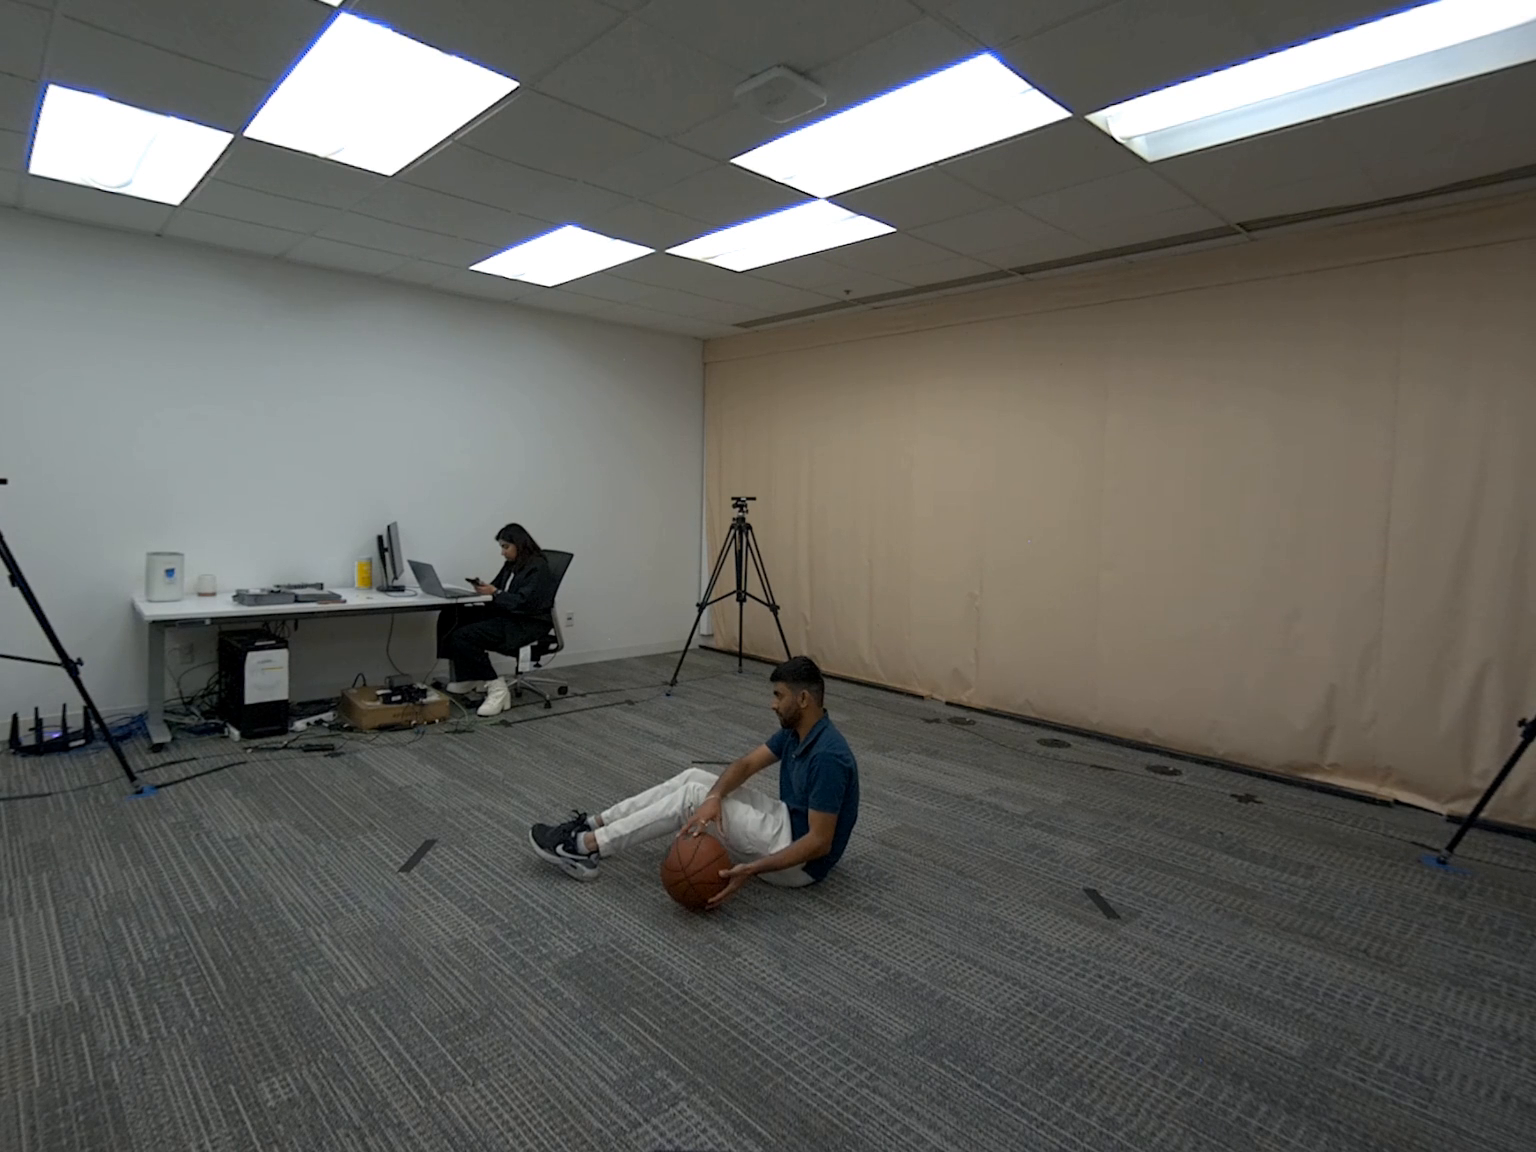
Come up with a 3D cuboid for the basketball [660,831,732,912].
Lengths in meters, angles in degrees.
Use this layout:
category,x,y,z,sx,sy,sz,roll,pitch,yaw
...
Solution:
category,x,y,z,sx,sy,sz,roll,pitch,yaw
basketball,-0.262,0.958,2.836,0.236,0.235,0.237,1,4,-1
